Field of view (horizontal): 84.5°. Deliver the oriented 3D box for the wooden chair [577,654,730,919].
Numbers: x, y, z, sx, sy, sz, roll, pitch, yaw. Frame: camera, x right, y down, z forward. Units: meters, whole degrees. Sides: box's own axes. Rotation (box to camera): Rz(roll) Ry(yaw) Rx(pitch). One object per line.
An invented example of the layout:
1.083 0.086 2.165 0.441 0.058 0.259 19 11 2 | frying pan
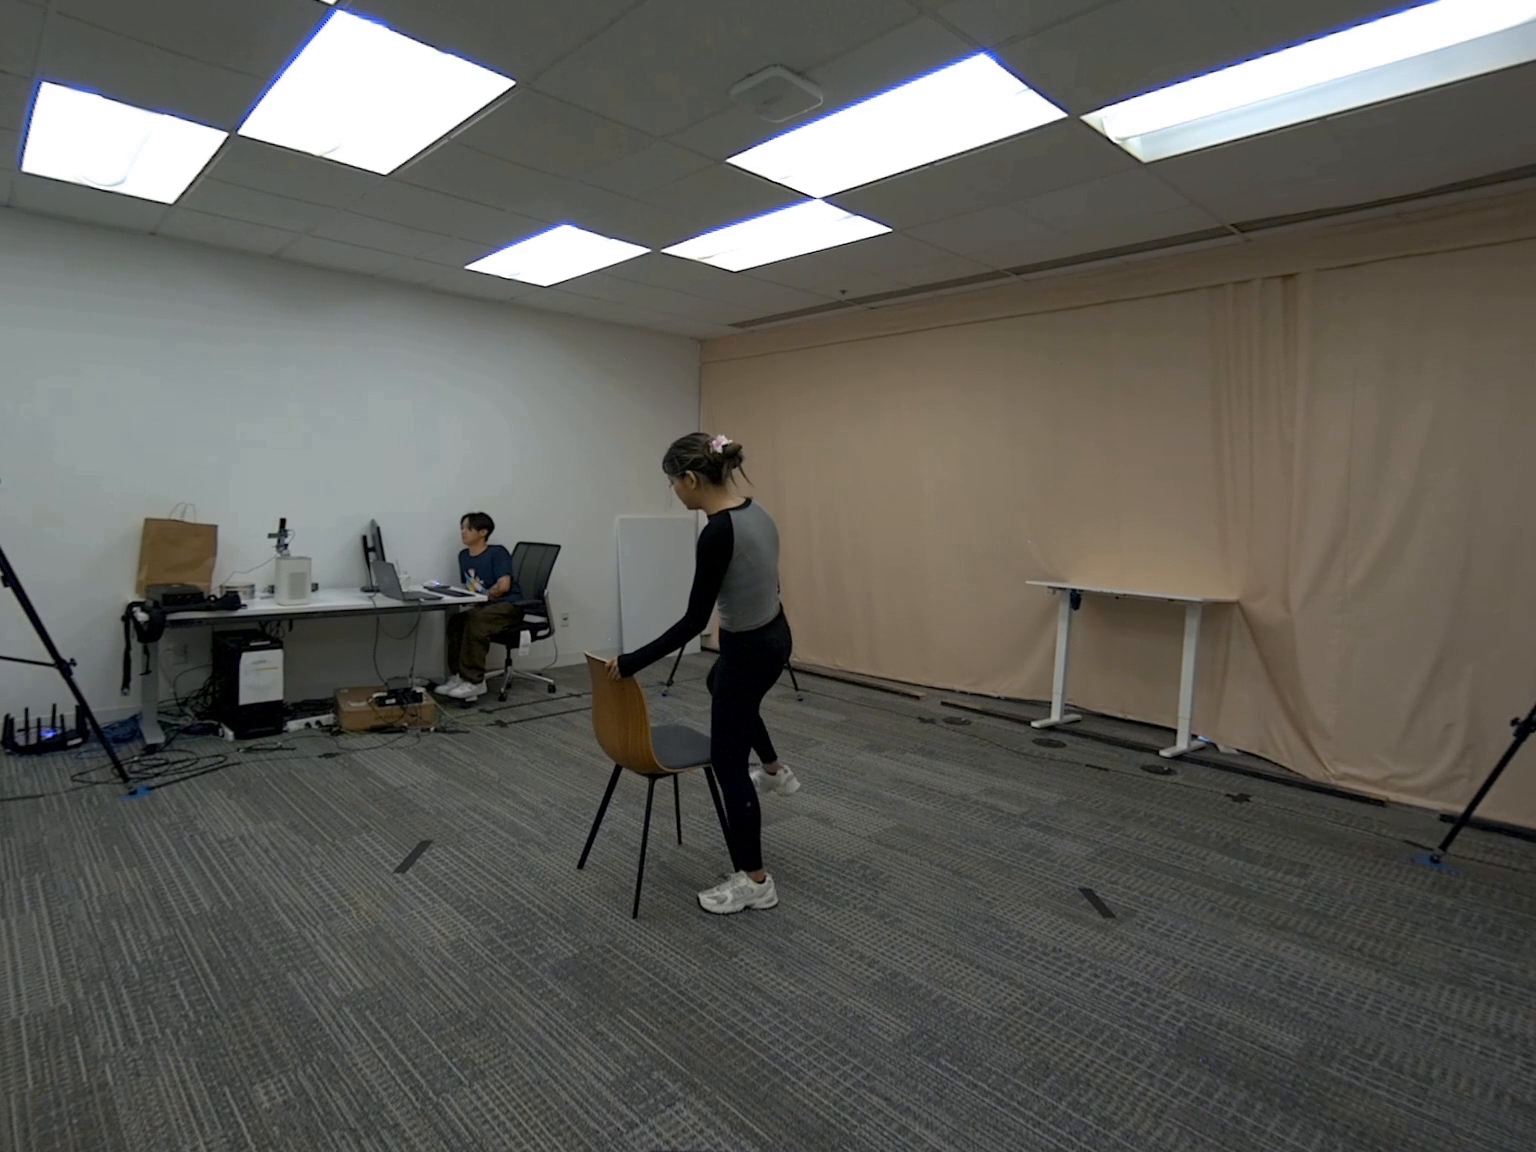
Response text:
-0.388 0.680 3.057 0.513 0.873 0.490 -7 7 -36 | wooden chair
